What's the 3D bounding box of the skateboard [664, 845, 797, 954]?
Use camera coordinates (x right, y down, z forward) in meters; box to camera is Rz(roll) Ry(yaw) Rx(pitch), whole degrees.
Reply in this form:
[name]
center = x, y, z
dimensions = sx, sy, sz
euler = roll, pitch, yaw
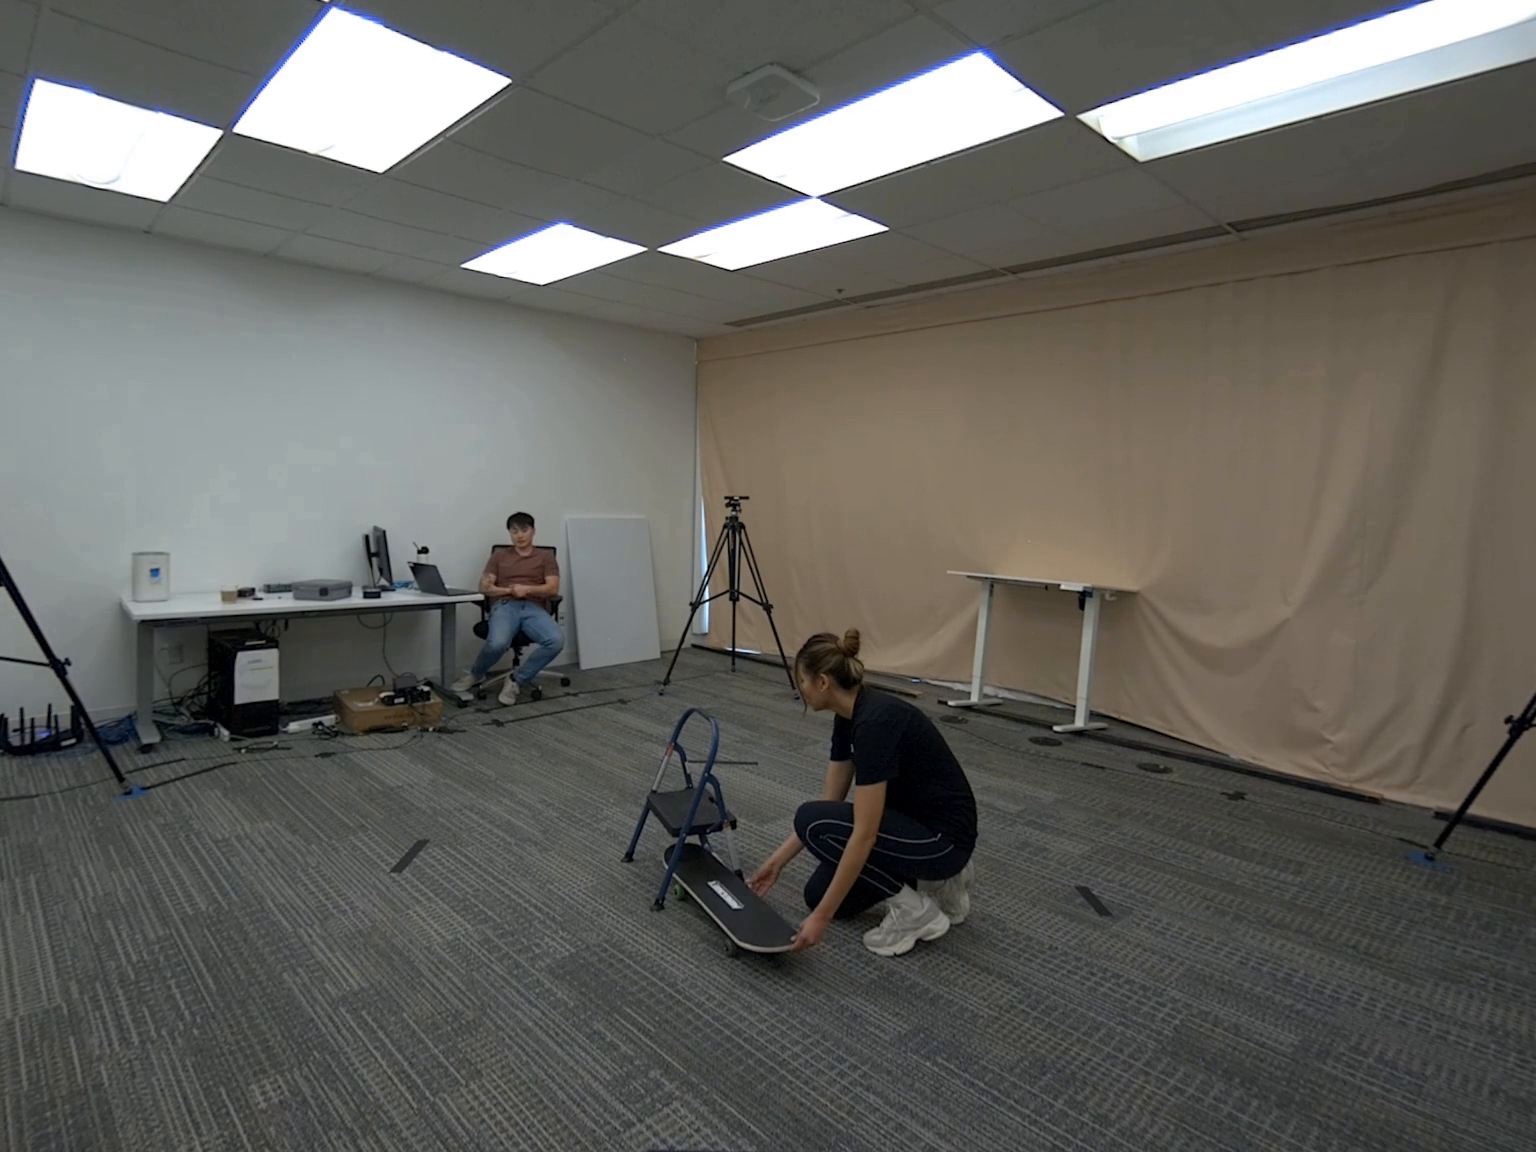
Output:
[skateboard]
center = -0.150, 1.082, 2.755
dimensions = 0.190, 0.110, 0.803
euler = -3, 6, -28
